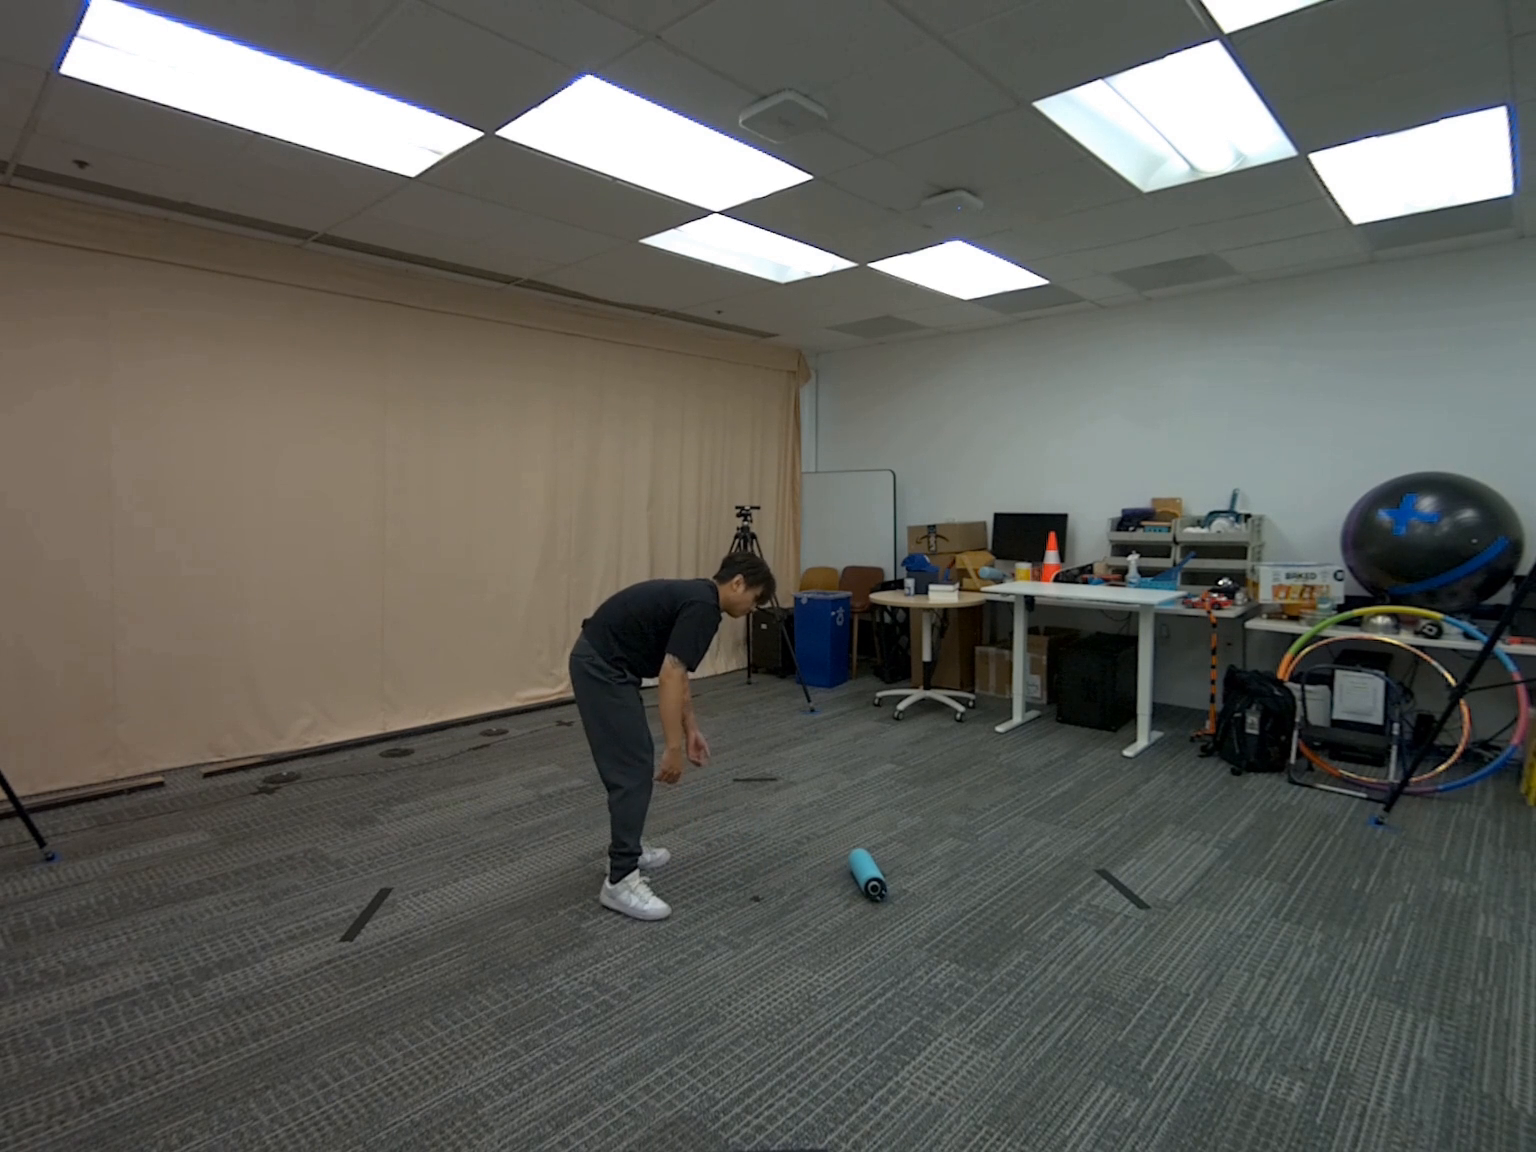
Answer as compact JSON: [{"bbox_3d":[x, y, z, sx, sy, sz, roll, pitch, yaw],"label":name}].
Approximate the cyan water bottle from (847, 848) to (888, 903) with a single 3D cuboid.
[{"bbox_3d":[0.366,1.088,3.062,0.092,0.092,0.286,0,5,-7],"label":"cyan water bottle"}]
